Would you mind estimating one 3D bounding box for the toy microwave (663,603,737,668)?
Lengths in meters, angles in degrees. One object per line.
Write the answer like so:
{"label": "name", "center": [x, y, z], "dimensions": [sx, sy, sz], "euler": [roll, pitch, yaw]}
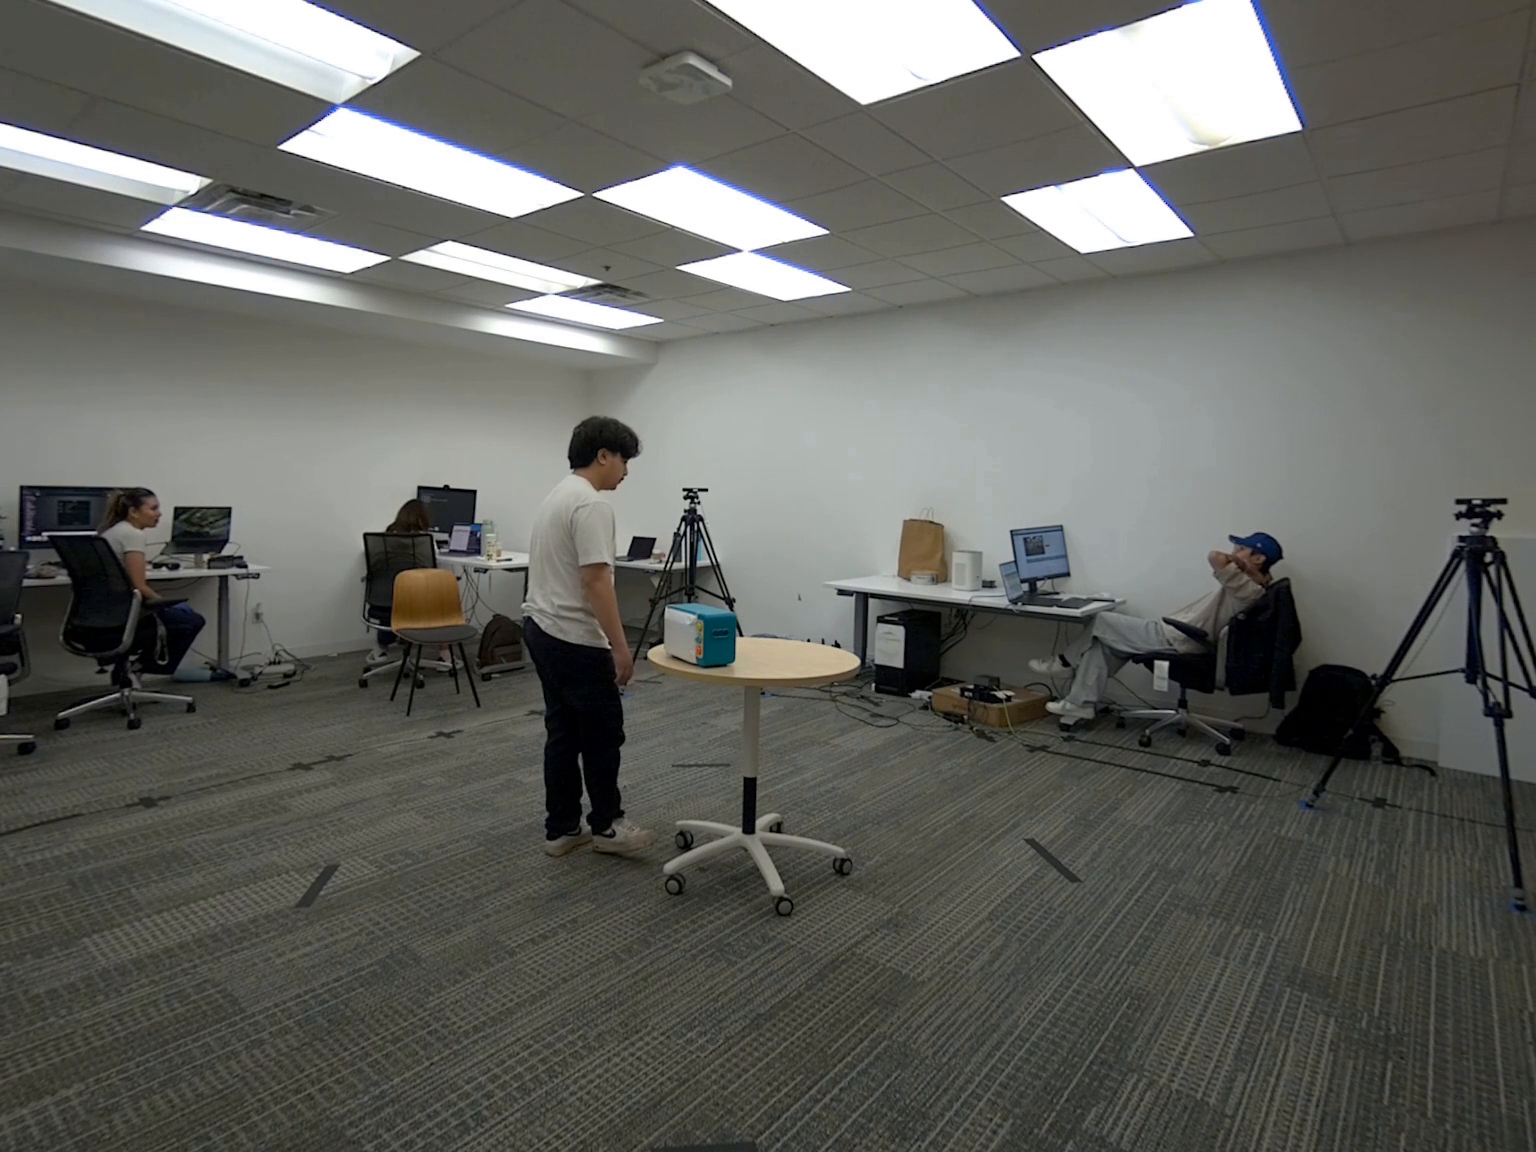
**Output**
{"label": "toy microwave", "center": [-0.254, 0.199, 2.944], "dimensions": [0.148, 0.183, 0.295], "euler": [-1, 5, -34]}
